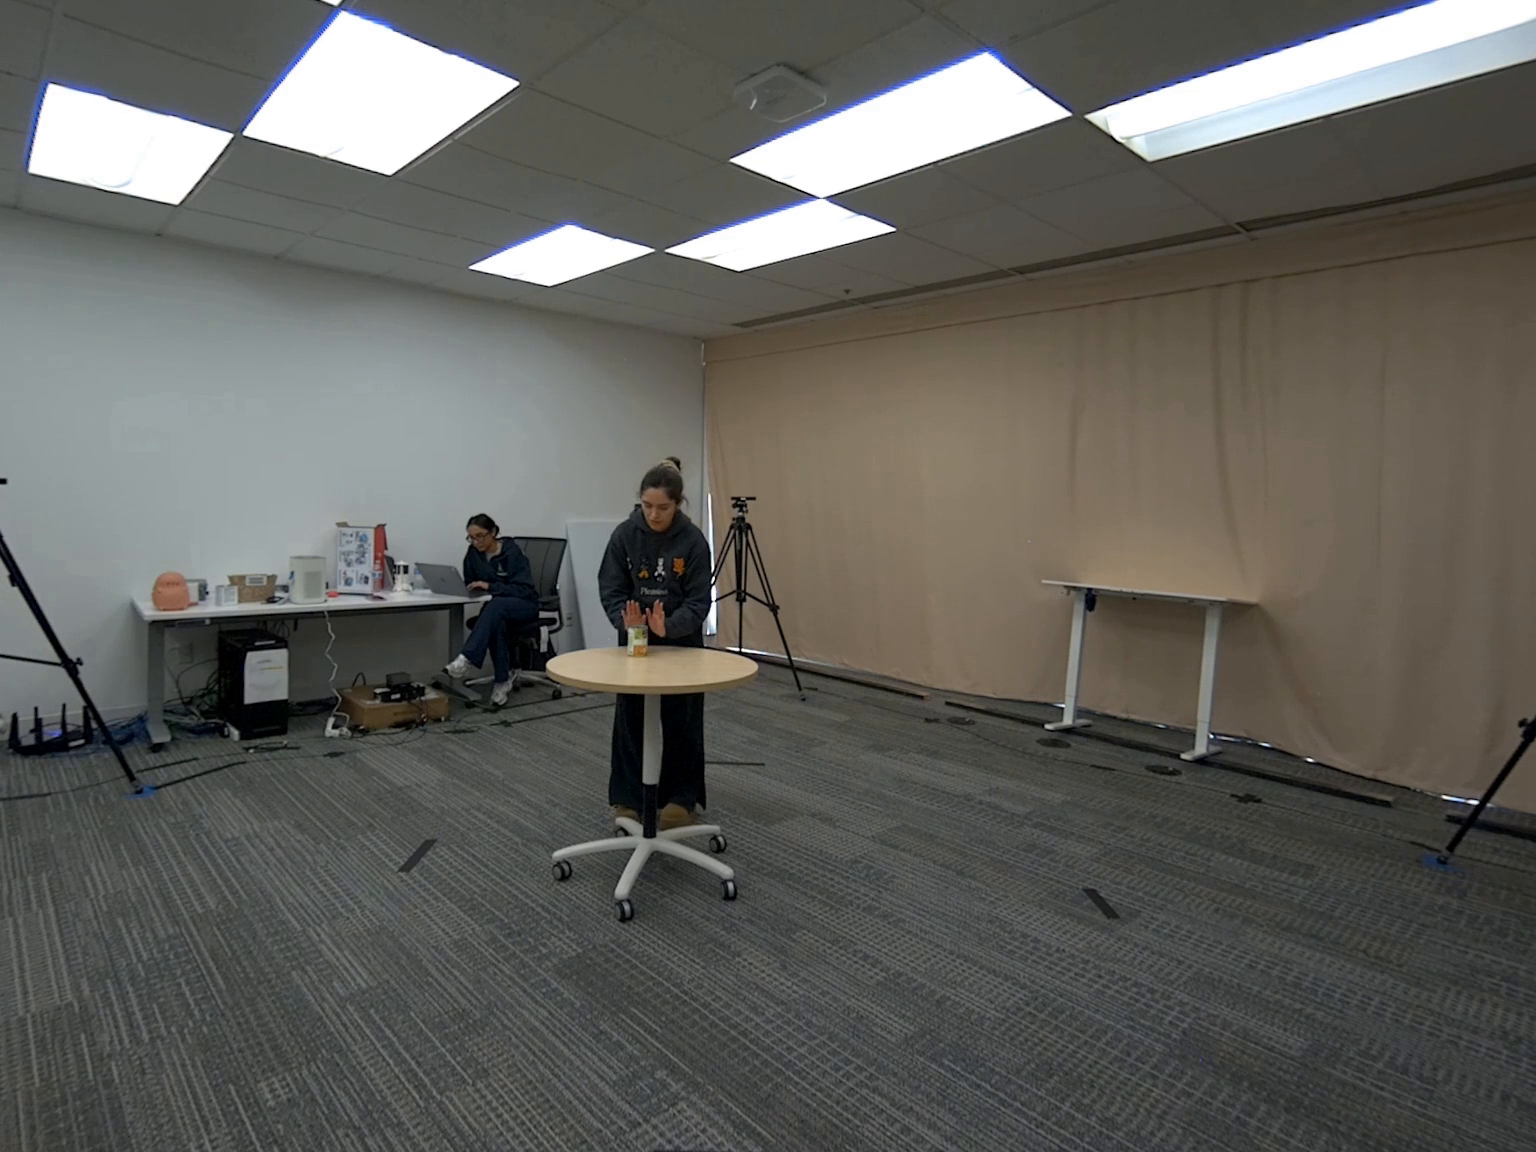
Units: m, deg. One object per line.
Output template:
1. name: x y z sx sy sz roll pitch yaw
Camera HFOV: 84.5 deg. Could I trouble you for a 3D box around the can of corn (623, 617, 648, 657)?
1. can of corn: -0.515 0.251 3.223 0.074 0.111 0.074 -4 0 -1
